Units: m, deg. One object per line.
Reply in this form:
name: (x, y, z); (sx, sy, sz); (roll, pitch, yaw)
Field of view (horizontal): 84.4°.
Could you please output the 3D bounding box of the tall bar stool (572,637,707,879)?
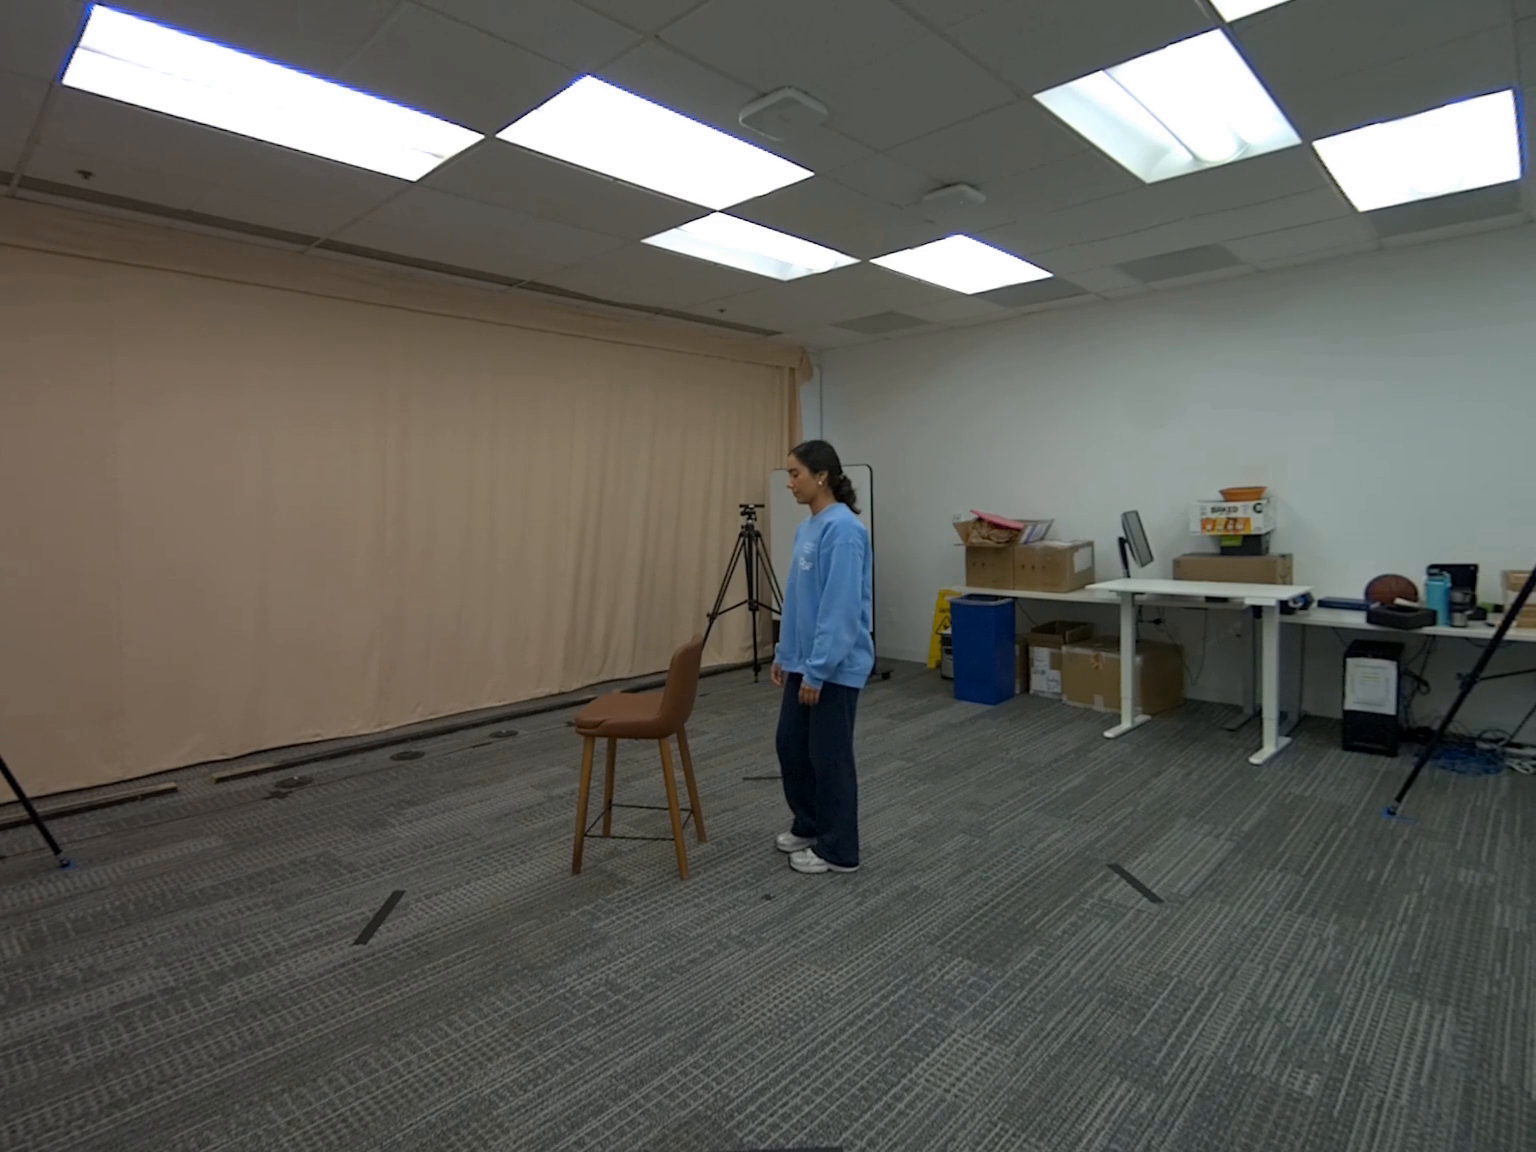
tall bar stool: (-0.502, 0.686, 3.346); (0.473, 0.888, 0.452); (1, 3, 9)
